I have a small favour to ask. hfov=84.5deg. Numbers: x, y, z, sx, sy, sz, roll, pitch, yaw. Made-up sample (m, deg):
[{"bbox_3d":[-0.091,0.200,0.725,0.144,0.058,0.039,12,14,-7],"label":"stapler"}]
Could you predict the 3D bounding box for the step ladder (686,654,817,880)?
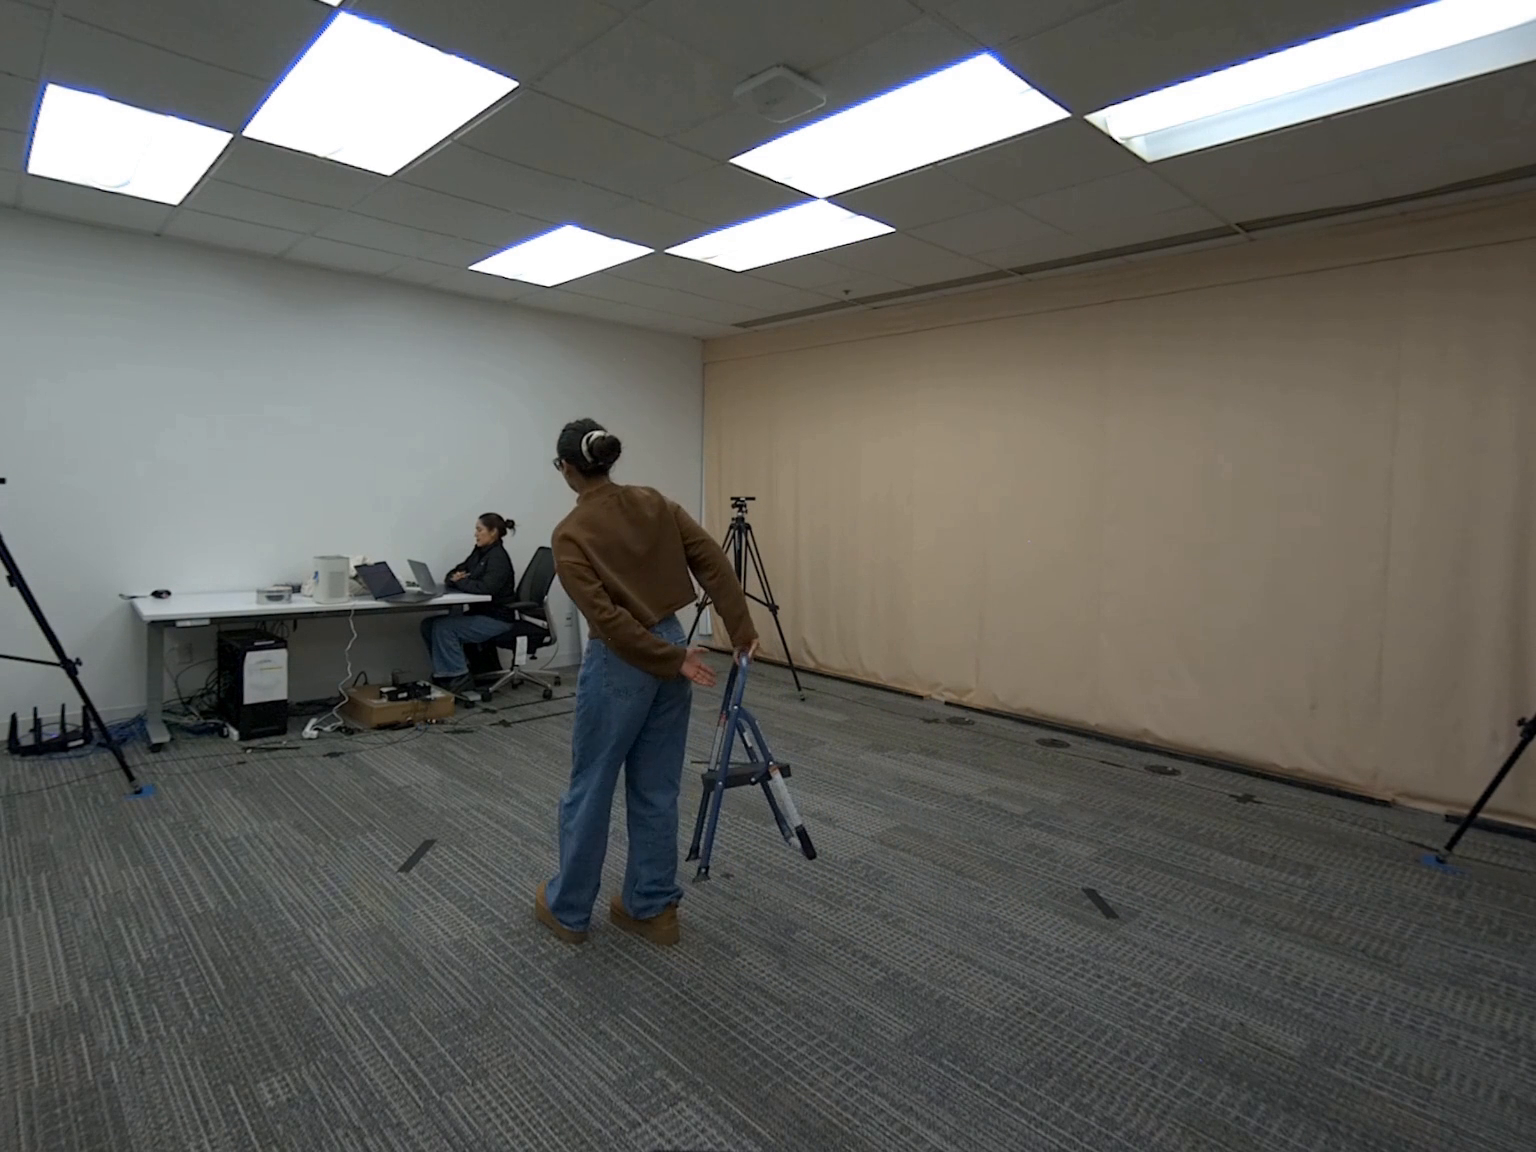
[{"bbox_3d":[-0.117,0.561,2.559,0.347,0.613,0.429,-9,-12,-10],"label":"step ladder"}]
